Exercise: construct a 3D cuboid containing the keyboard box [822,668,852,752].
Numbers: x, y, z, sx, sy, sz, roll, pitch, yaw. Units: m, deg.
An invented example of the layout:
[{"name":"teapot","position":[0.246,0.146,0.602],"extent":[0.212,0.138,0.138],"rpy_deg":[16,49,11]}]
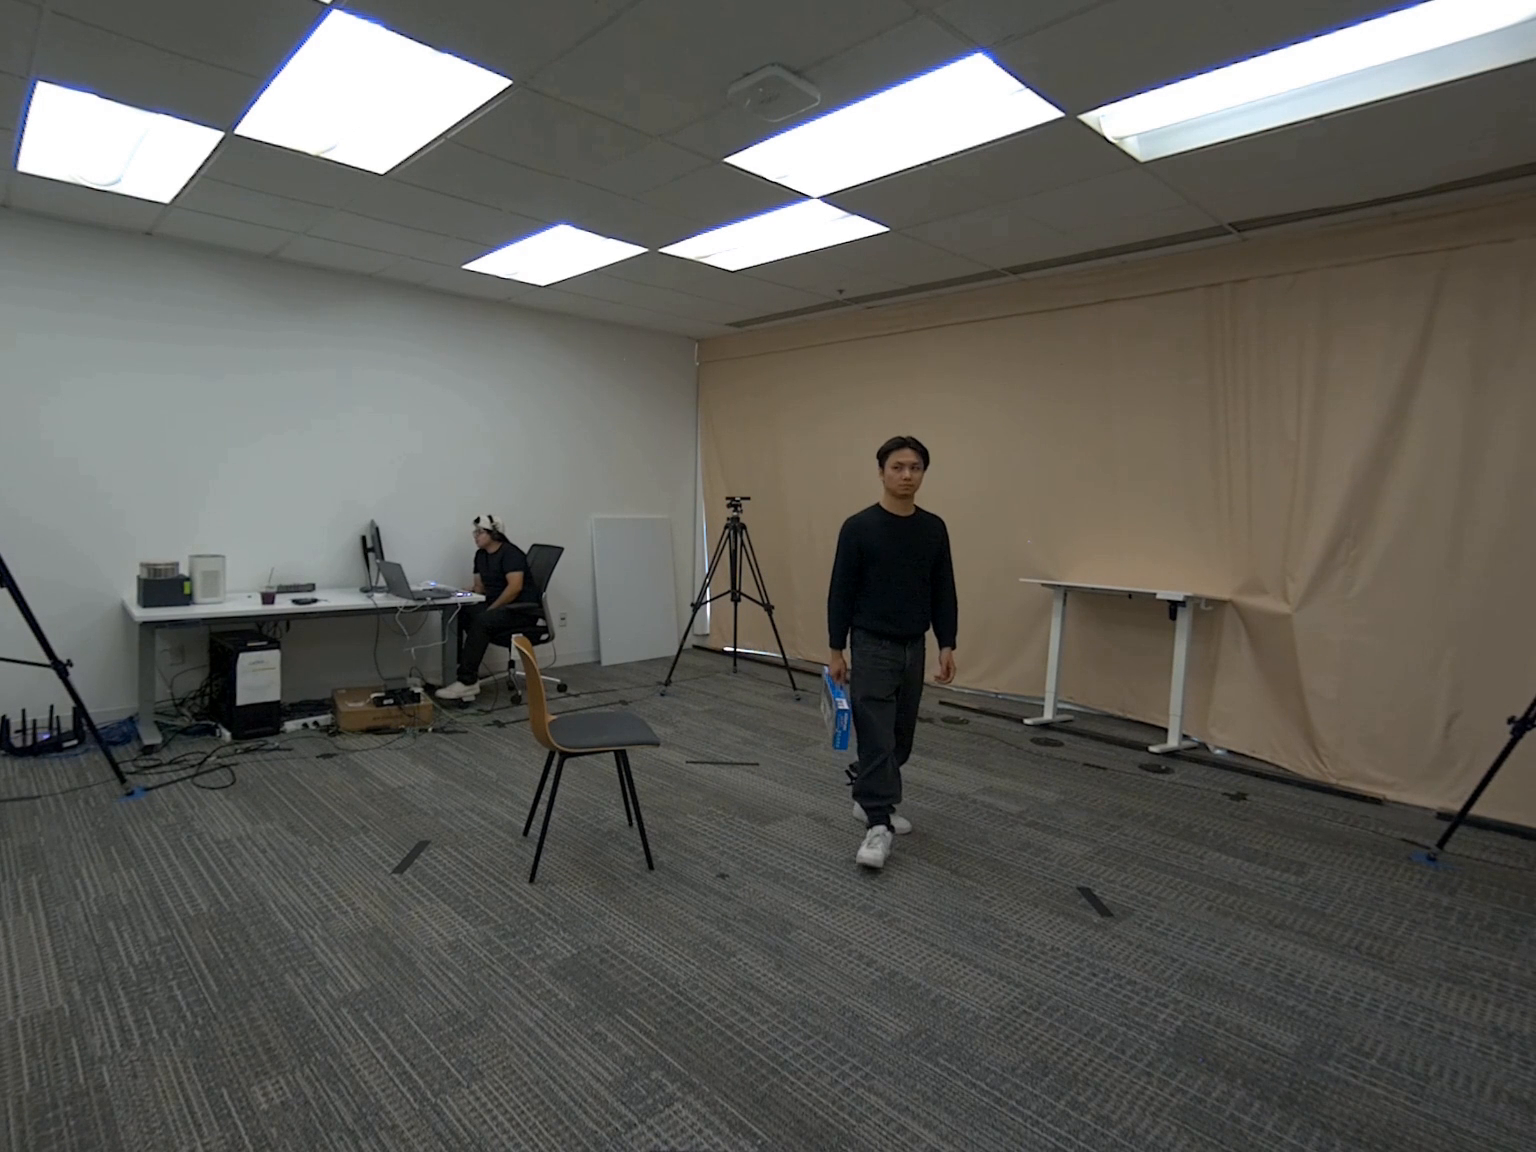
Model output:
[{"name":"keyboard box","position":[0.271,0.528,3.464],"extent":[0.059,0.174,0.441],"rpy_deg":[1,13,-3]}]
